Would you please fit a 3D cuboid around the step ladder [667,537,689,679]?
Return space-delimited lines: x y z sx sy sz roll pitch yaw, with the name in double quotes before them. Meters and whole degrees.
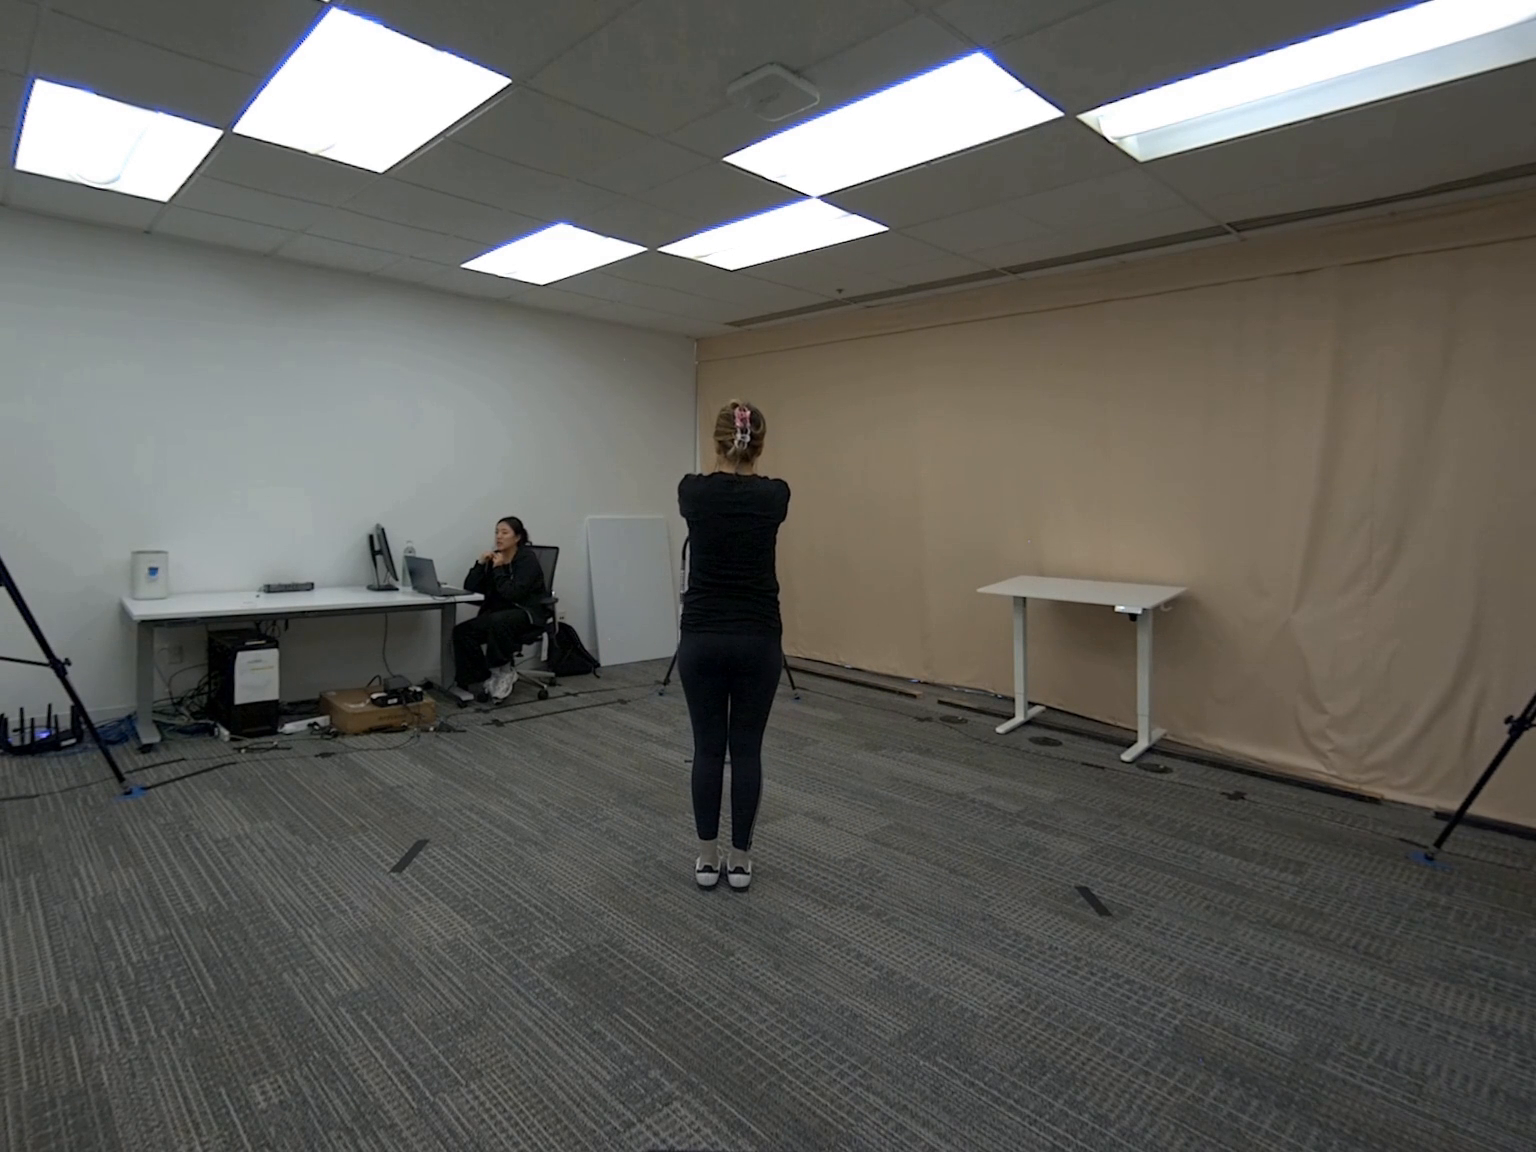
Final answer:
"step ladder" -0.182 0.074 3.639 0.428 0.605 0.351 2 2 -6
